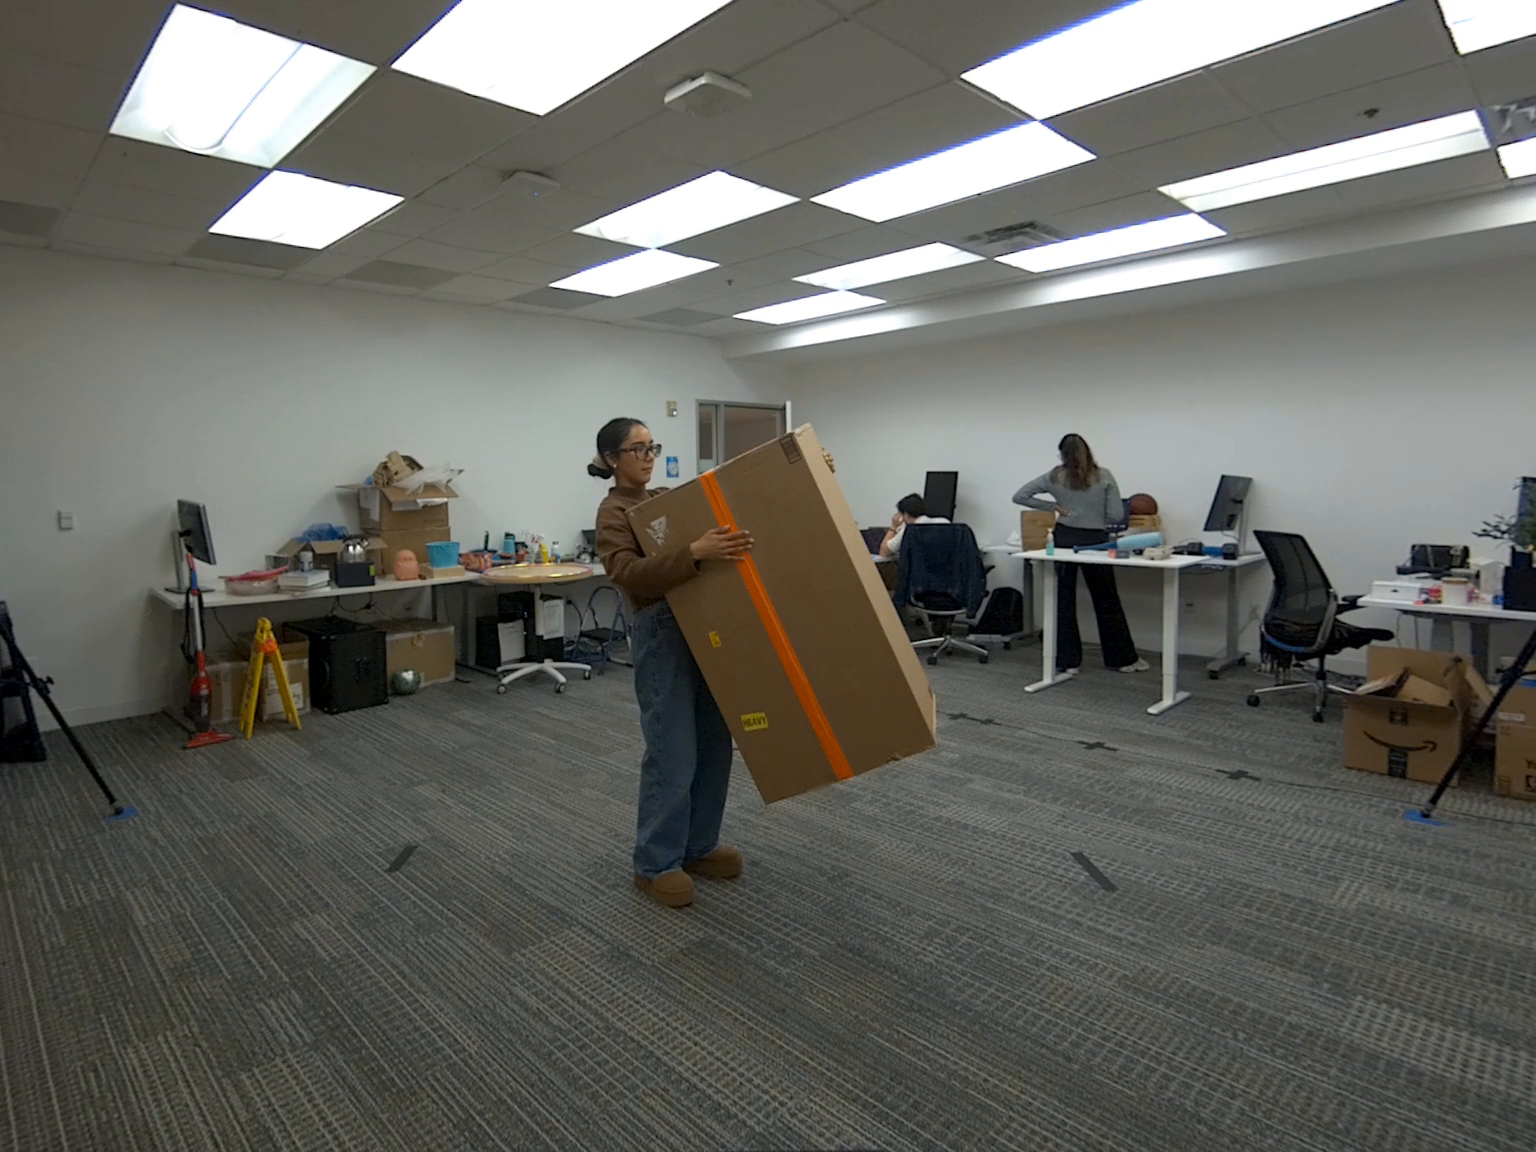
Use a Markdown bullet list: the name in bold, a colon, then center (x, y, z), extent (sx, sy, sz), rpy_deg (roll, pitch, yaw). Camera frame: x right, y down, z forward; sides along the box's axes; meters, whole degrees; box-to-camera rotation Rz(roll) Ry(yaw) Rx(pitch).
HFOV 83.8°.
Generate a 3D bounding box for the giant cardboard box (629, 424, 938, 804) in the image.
- **giant cardboard box**: center (0.066, 0.107, 2.758), extent (0.582, 1.021, 0.424), rpy_deg (-24, 4, 17)
